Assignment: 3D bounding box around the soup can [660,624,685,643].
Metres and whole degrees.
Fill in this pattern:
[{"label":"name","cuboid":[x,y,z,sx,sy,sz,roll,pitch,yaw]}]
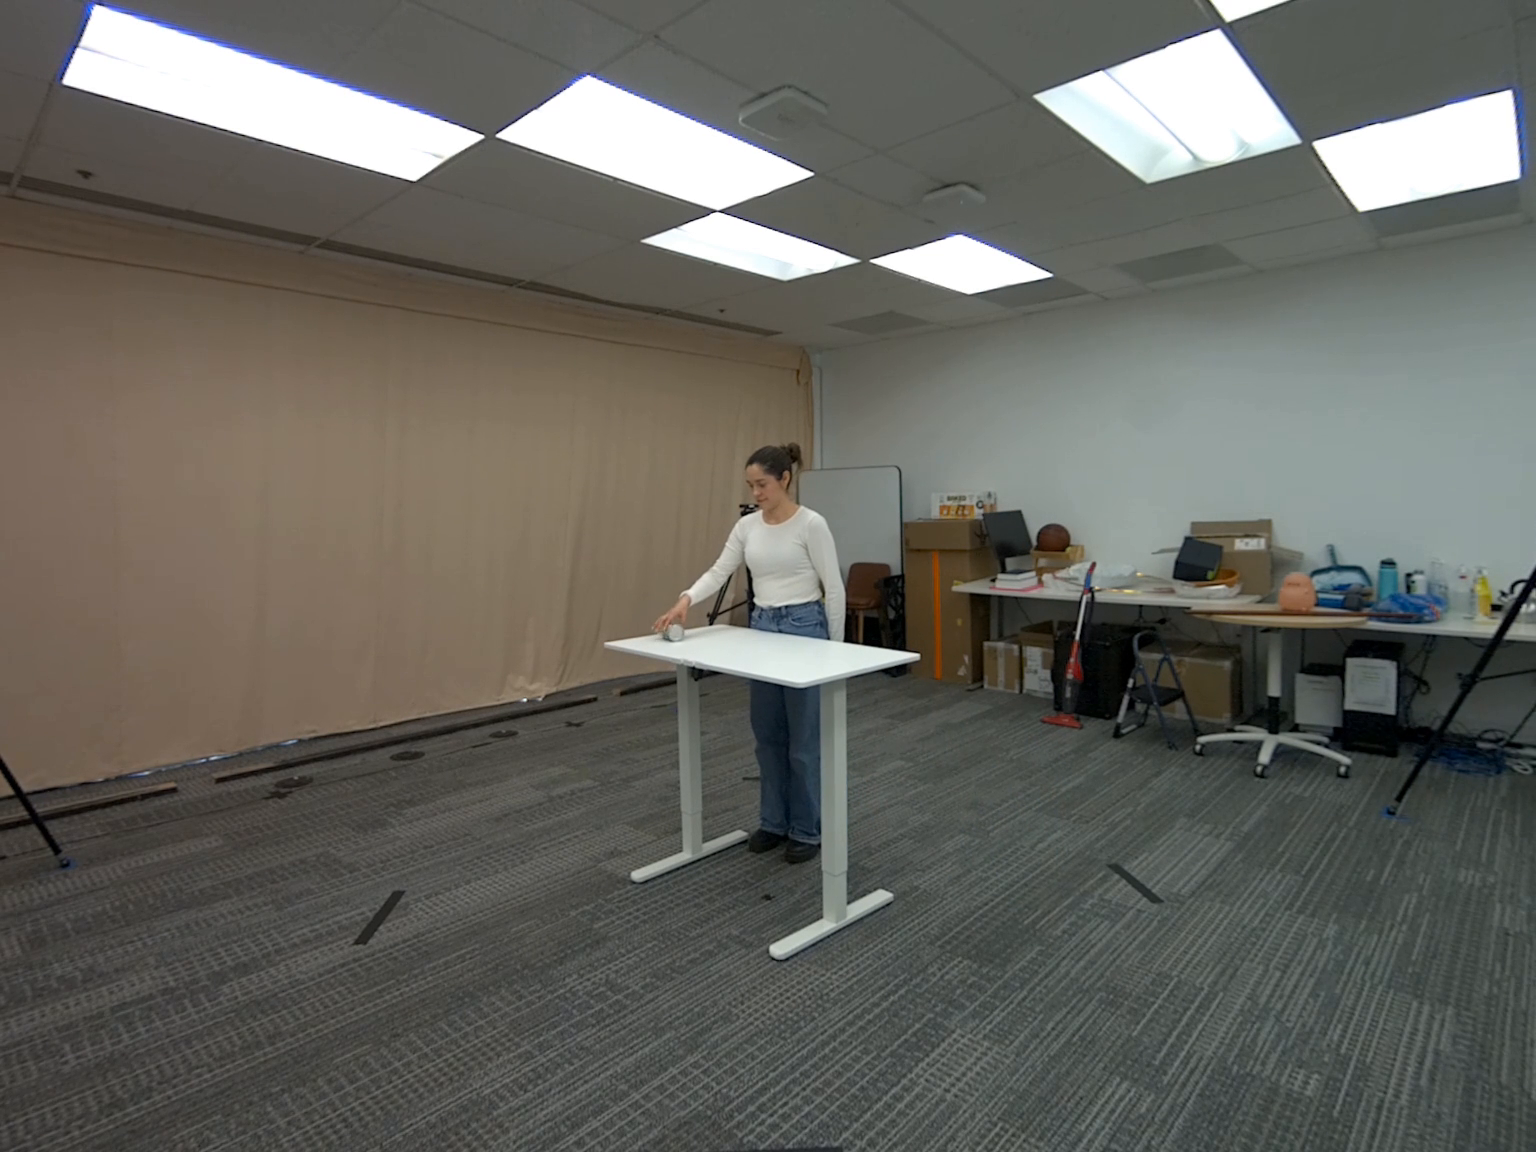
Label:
[{"label":"soup can","cuboid":[-0.376,0.208,3.204,0.066,0.067,0.123,-2,4,-15]}]
